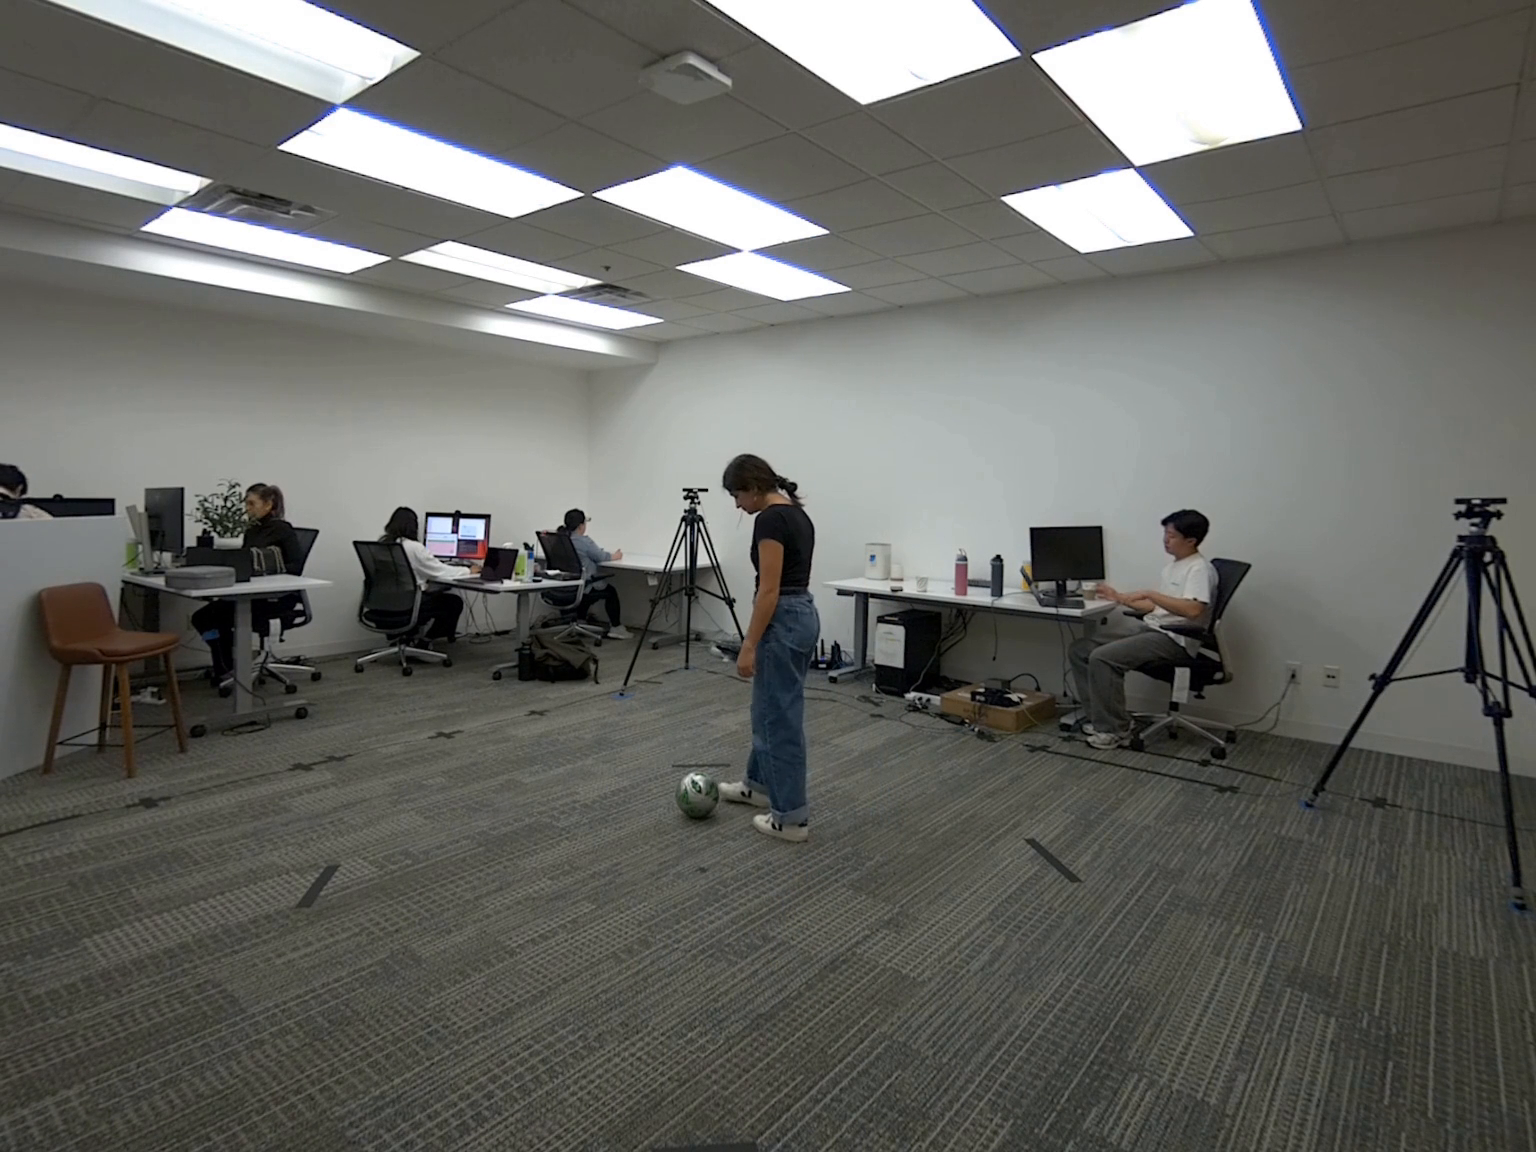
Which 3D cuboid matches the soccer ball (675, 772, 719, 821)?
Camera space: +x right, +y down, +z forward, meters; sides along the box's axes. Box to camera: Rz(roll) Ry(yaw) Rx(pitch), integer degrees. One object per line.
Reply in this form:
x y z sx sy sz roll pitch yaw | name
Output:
-0.306 0.920 3.624 0.187 0.187 0.188 1 4 -2 | soccer ball
